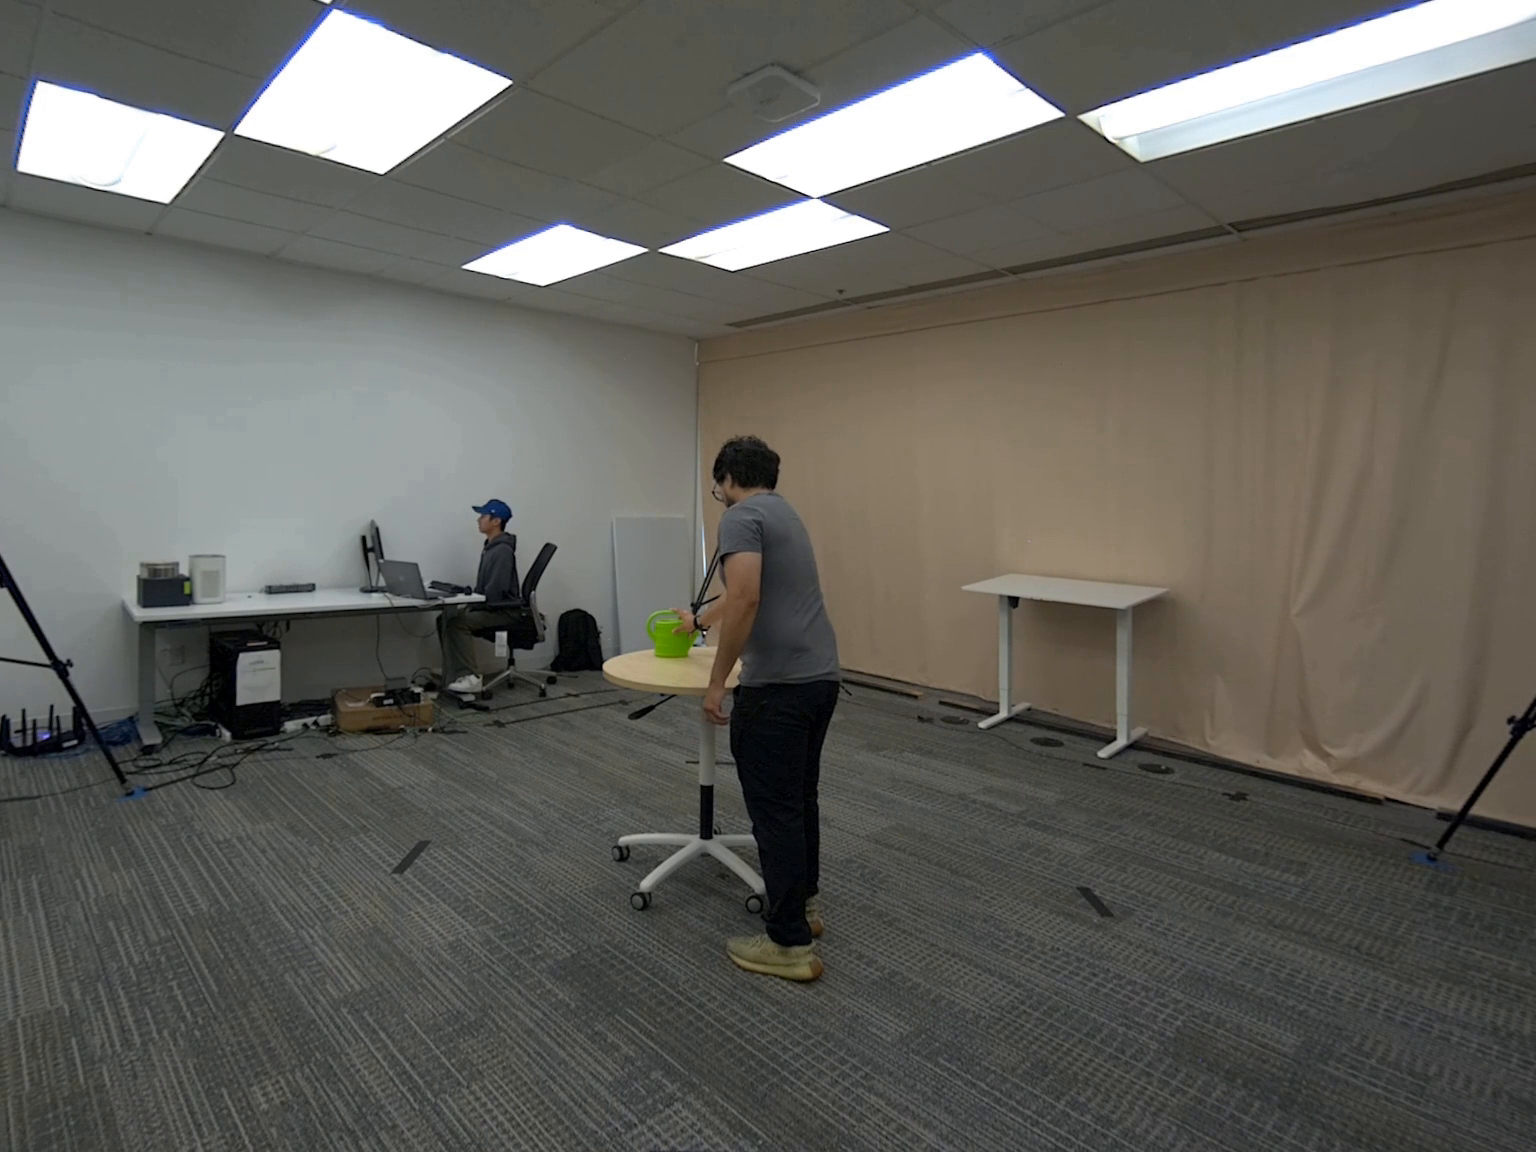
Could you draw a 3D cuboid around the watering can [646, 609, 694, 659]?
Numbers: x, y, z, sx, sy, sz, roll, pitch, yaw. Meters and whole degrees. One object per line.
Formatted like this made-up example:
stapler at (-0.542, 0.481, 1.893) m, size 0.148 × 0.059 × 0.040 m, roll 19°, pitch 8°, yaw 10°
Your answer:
watering can at (-0.345, 0.227, 3.234) m, size 0.279 × 0.176 × 0.098 m, roll -1°, pitch 3°, yaw 6°
